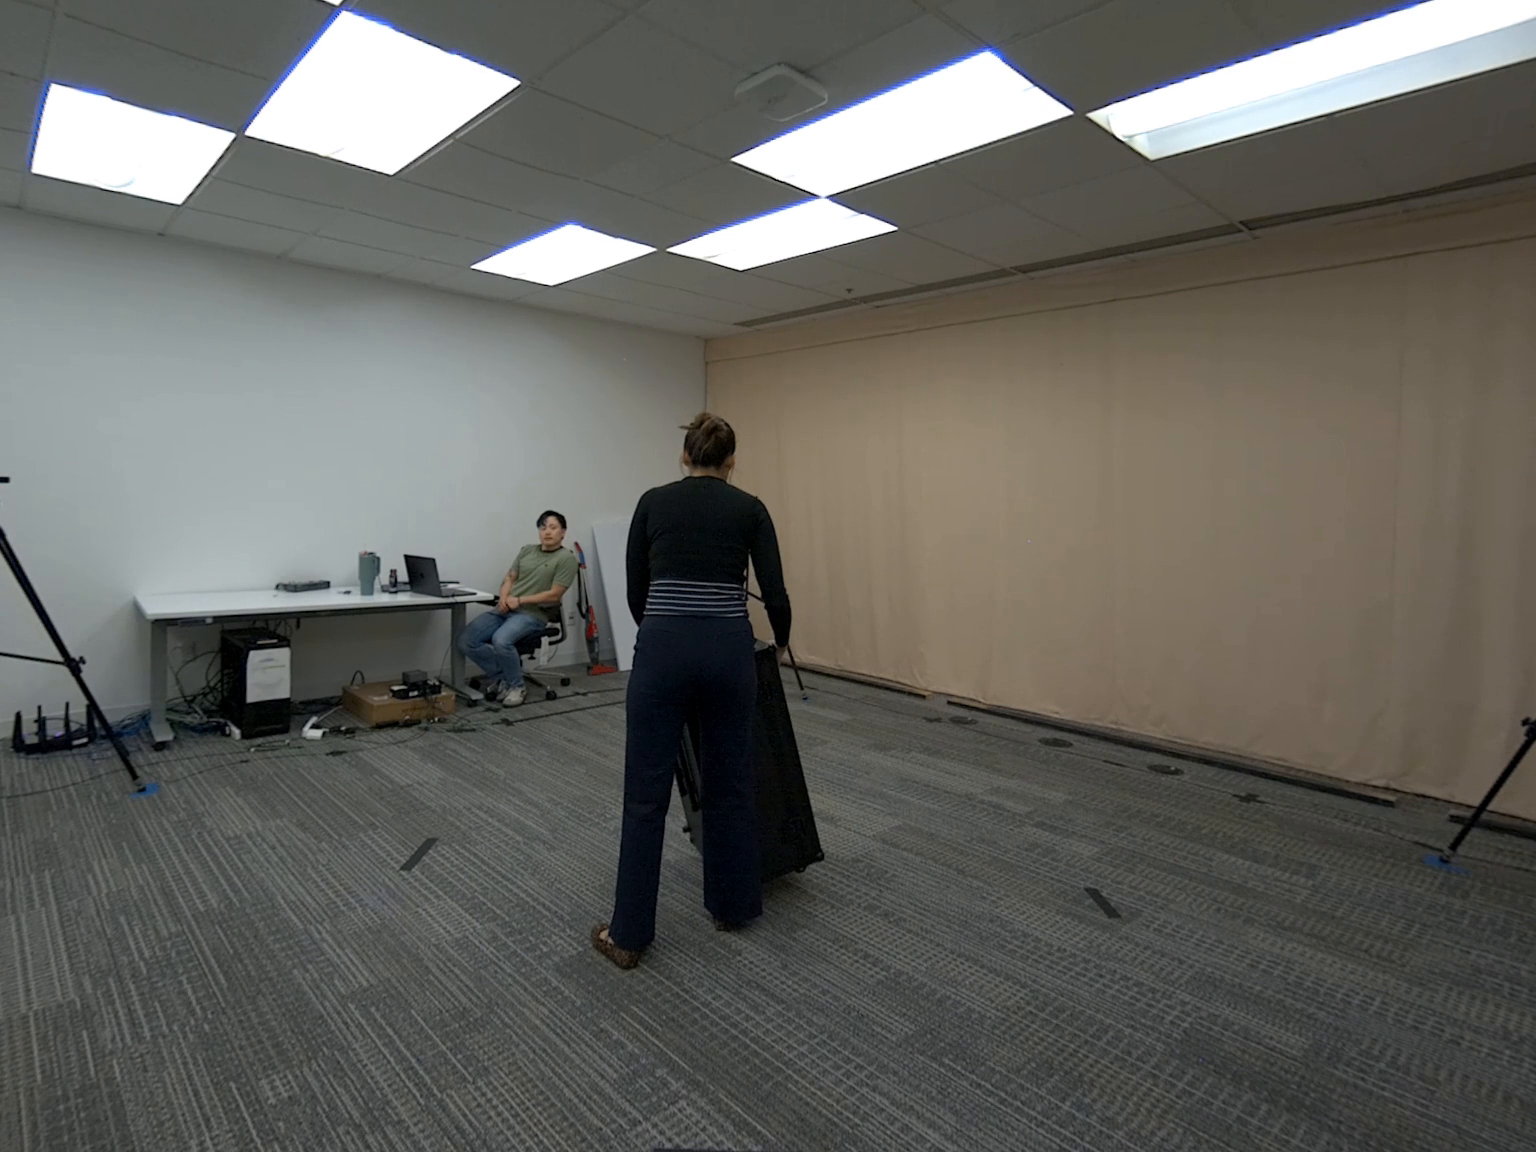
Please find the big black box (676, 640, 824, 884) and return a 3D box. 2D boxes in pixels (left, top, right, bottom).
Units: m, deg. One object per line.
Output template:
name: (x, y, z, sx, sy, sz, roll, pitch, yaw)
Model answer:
big black box: (-0.154, 0.617, 3.039, 0.392, 0.855, 0.530, -15, 8, -18)
